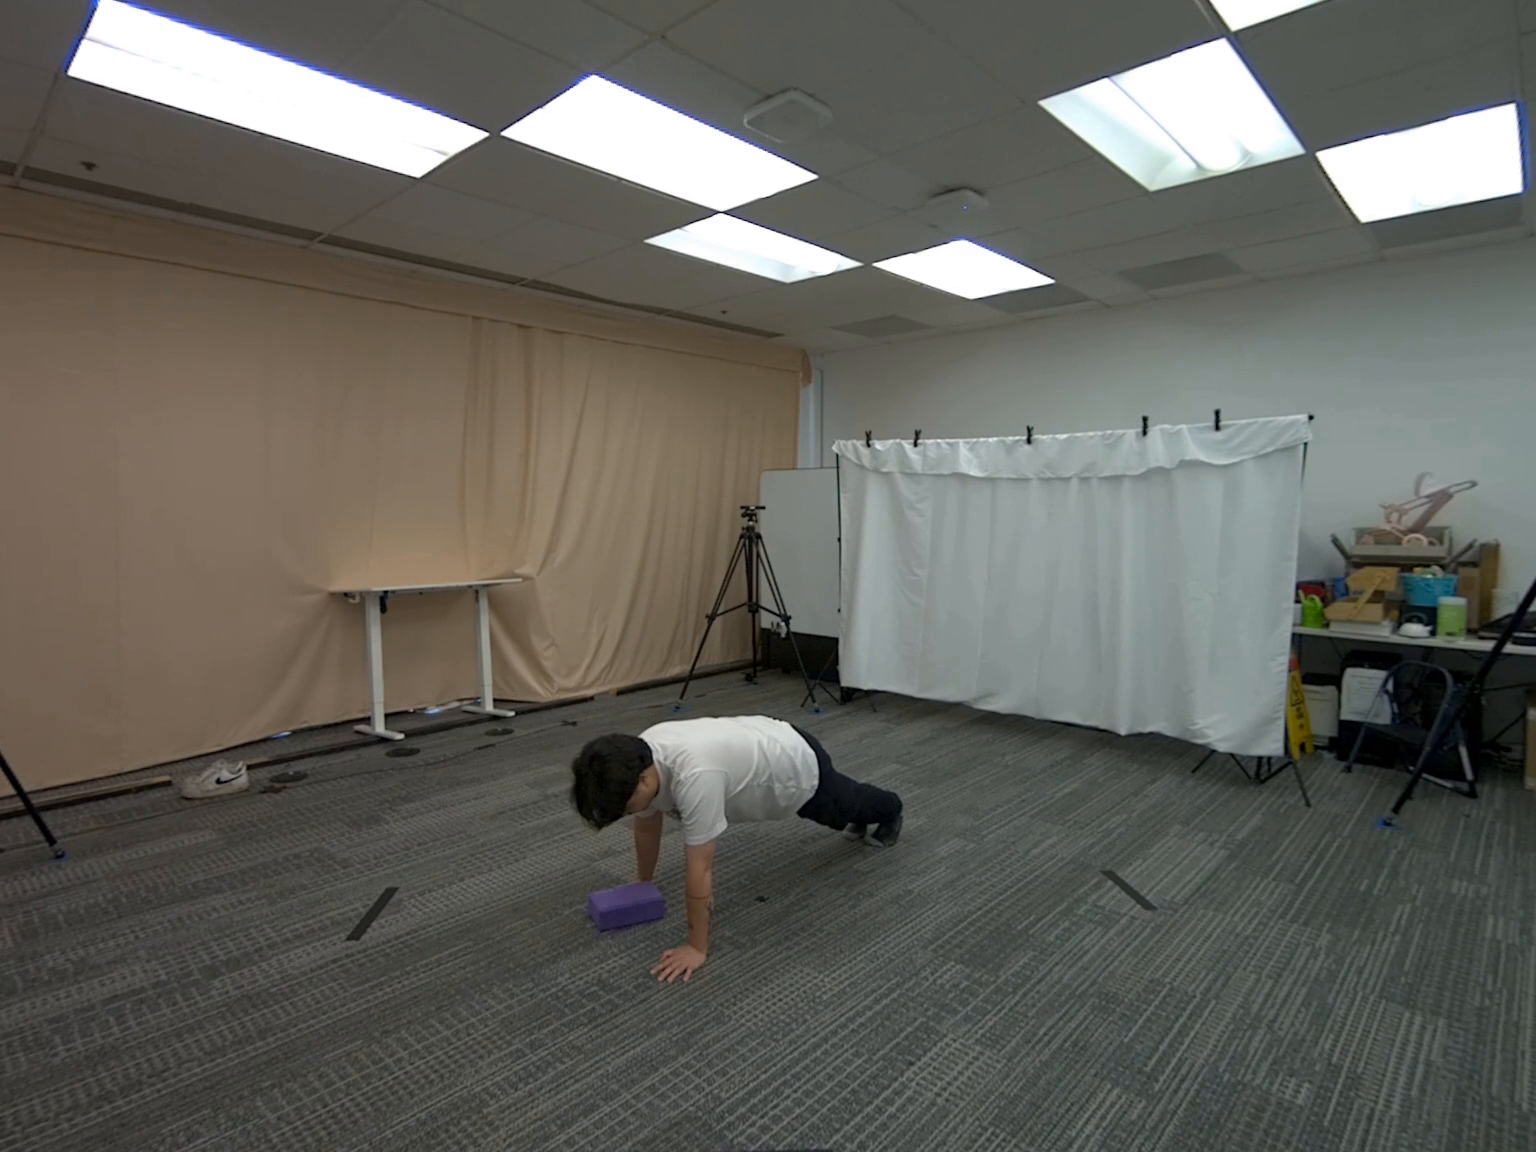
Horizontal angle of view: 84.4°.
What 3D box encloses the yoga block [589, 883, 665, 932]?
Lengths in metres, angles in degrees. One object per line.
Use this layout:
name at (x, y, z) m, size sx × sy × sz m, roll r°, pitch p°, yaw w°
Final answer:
yoga block at (-0.475, 1.115, 2.861) m, size 0.224 × 0.076 × 0.153 m, roll -3°, pitch 5°, yaw -25°
